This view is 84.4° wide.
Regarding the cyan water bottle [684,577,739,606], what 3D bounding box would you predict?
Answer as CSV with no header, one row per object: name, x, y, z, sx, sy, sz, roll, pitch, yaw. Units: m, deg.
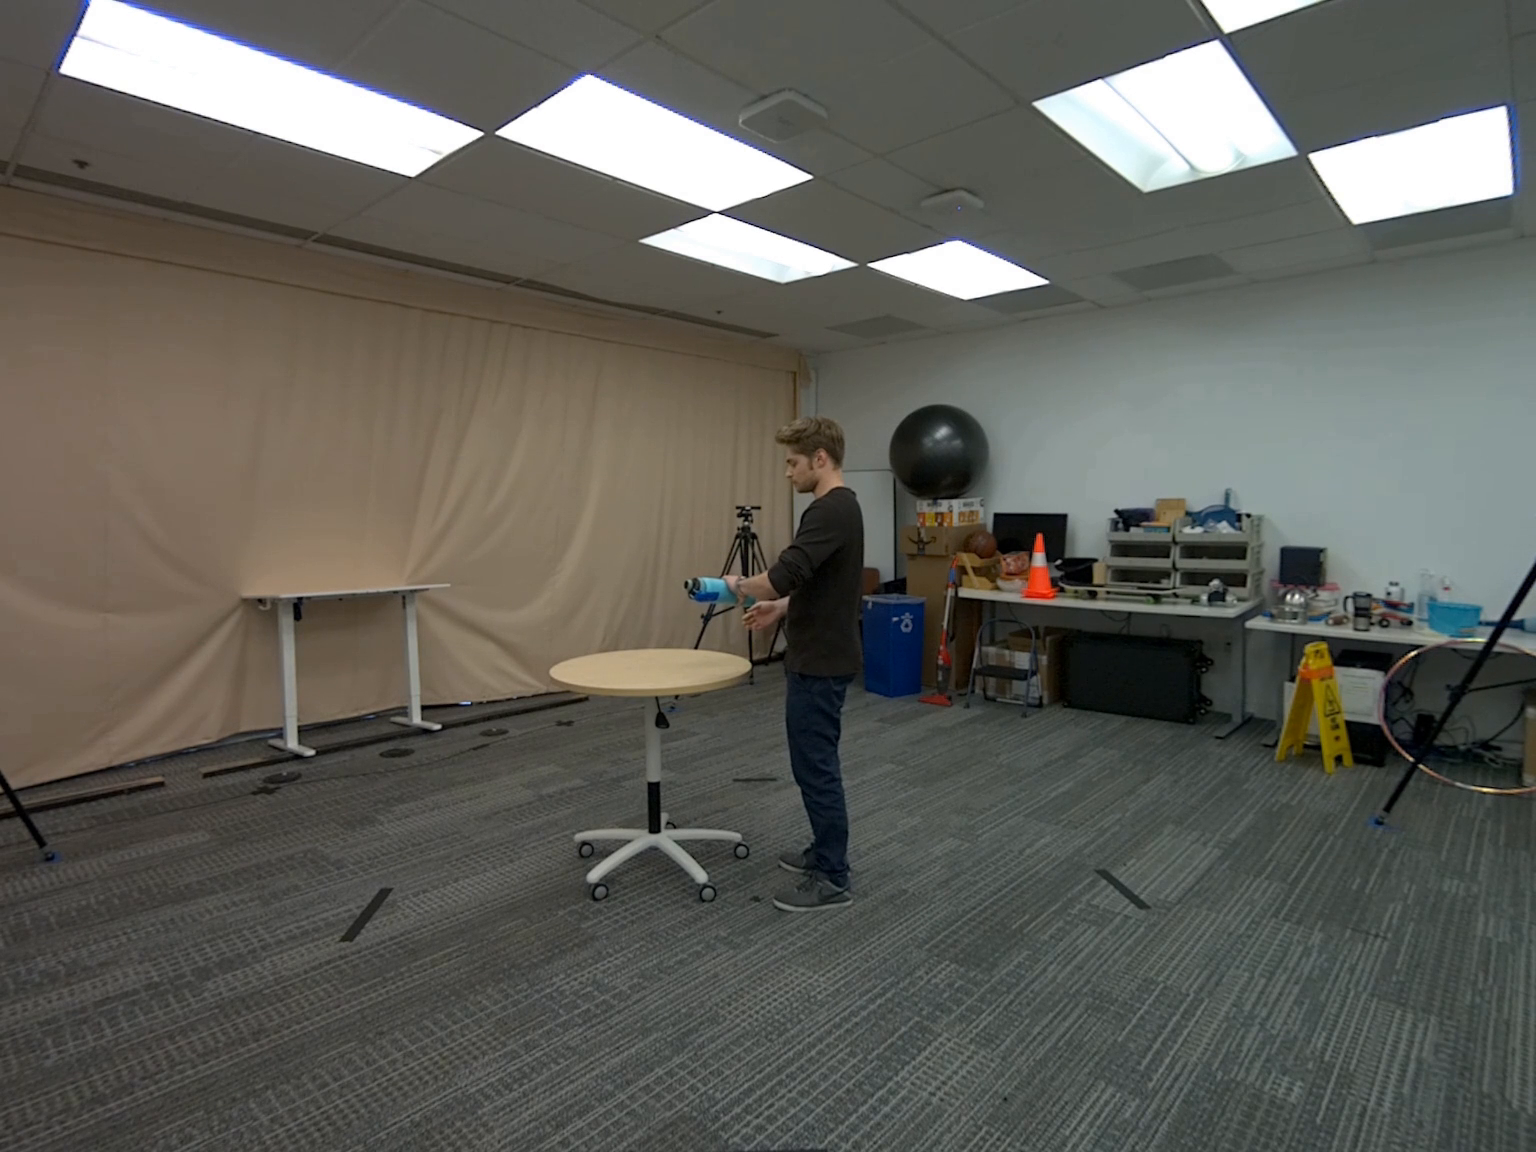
cyan water bottle,-0.168,0.056,3.043,0.274,0.092,0.095,7,-1,-38
